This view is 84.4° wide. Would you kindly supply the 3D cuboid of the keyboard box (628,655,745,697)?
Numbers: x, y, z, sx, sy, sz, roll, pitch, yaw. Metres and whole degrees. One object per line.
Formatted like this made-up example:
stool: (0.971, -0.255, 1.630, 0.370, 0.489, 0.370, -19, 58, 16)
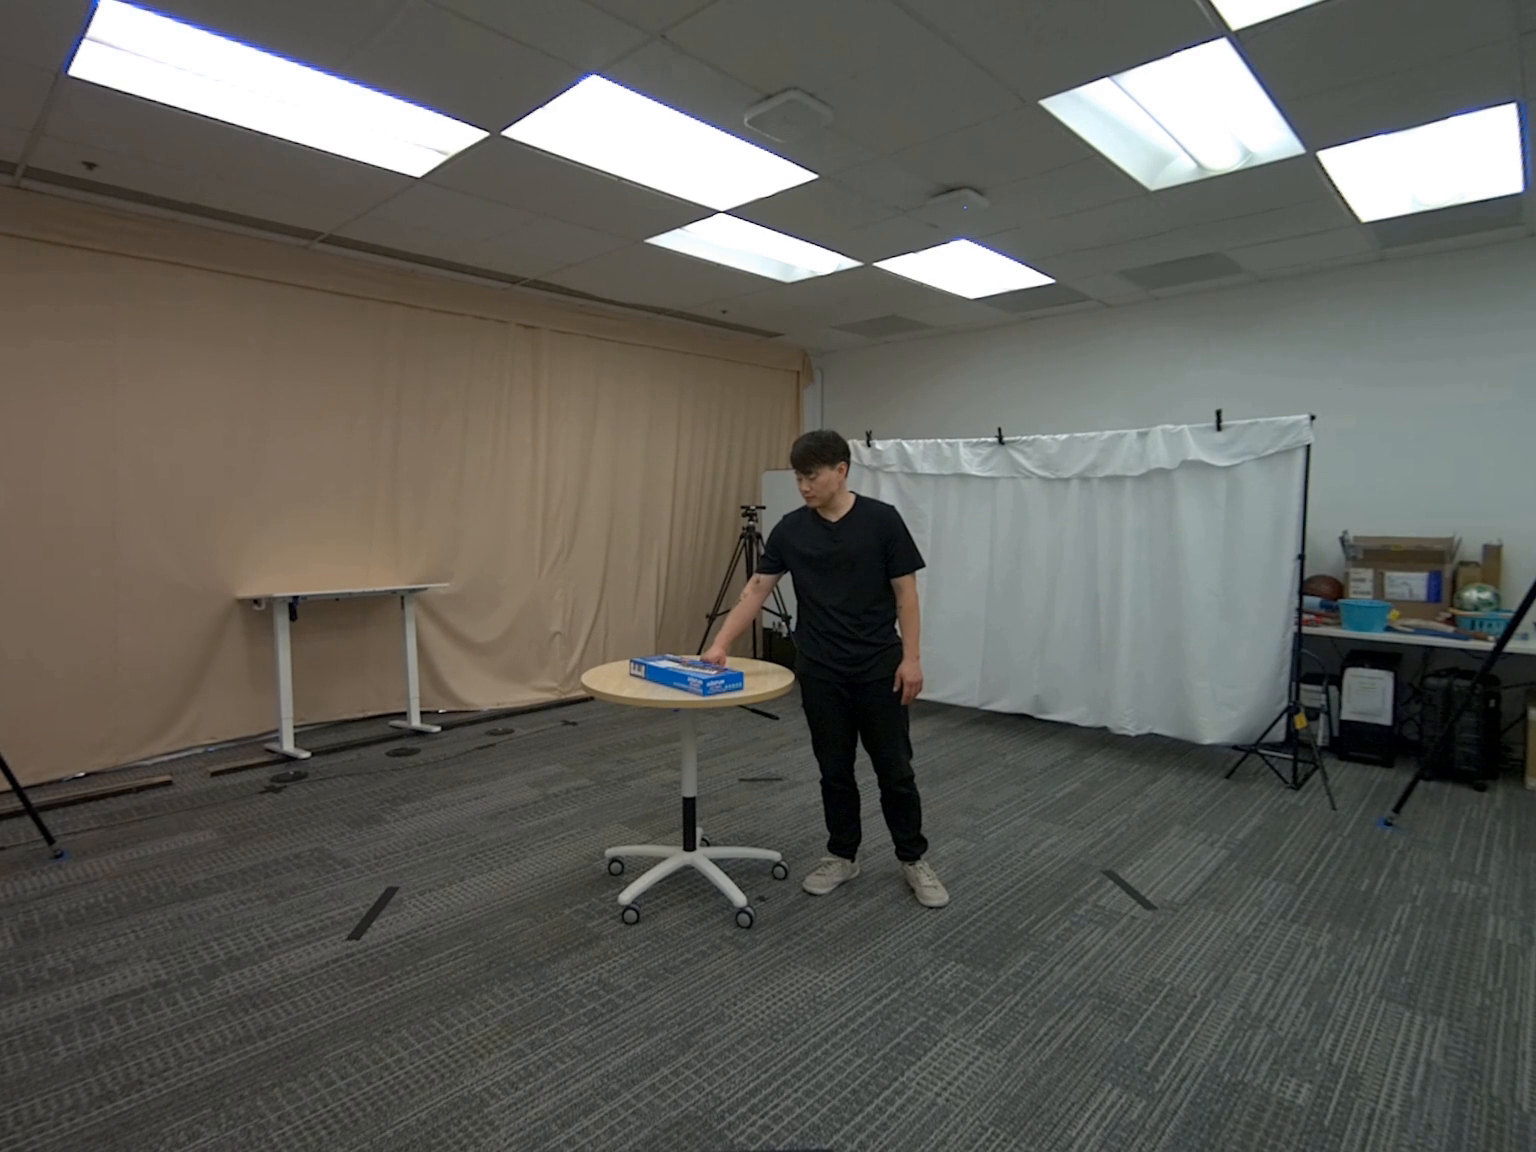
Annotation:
keyboard box: (-0.293, 0.340, 2.915, 0.170, 0.059, 0.451, -5, 7, -42)
